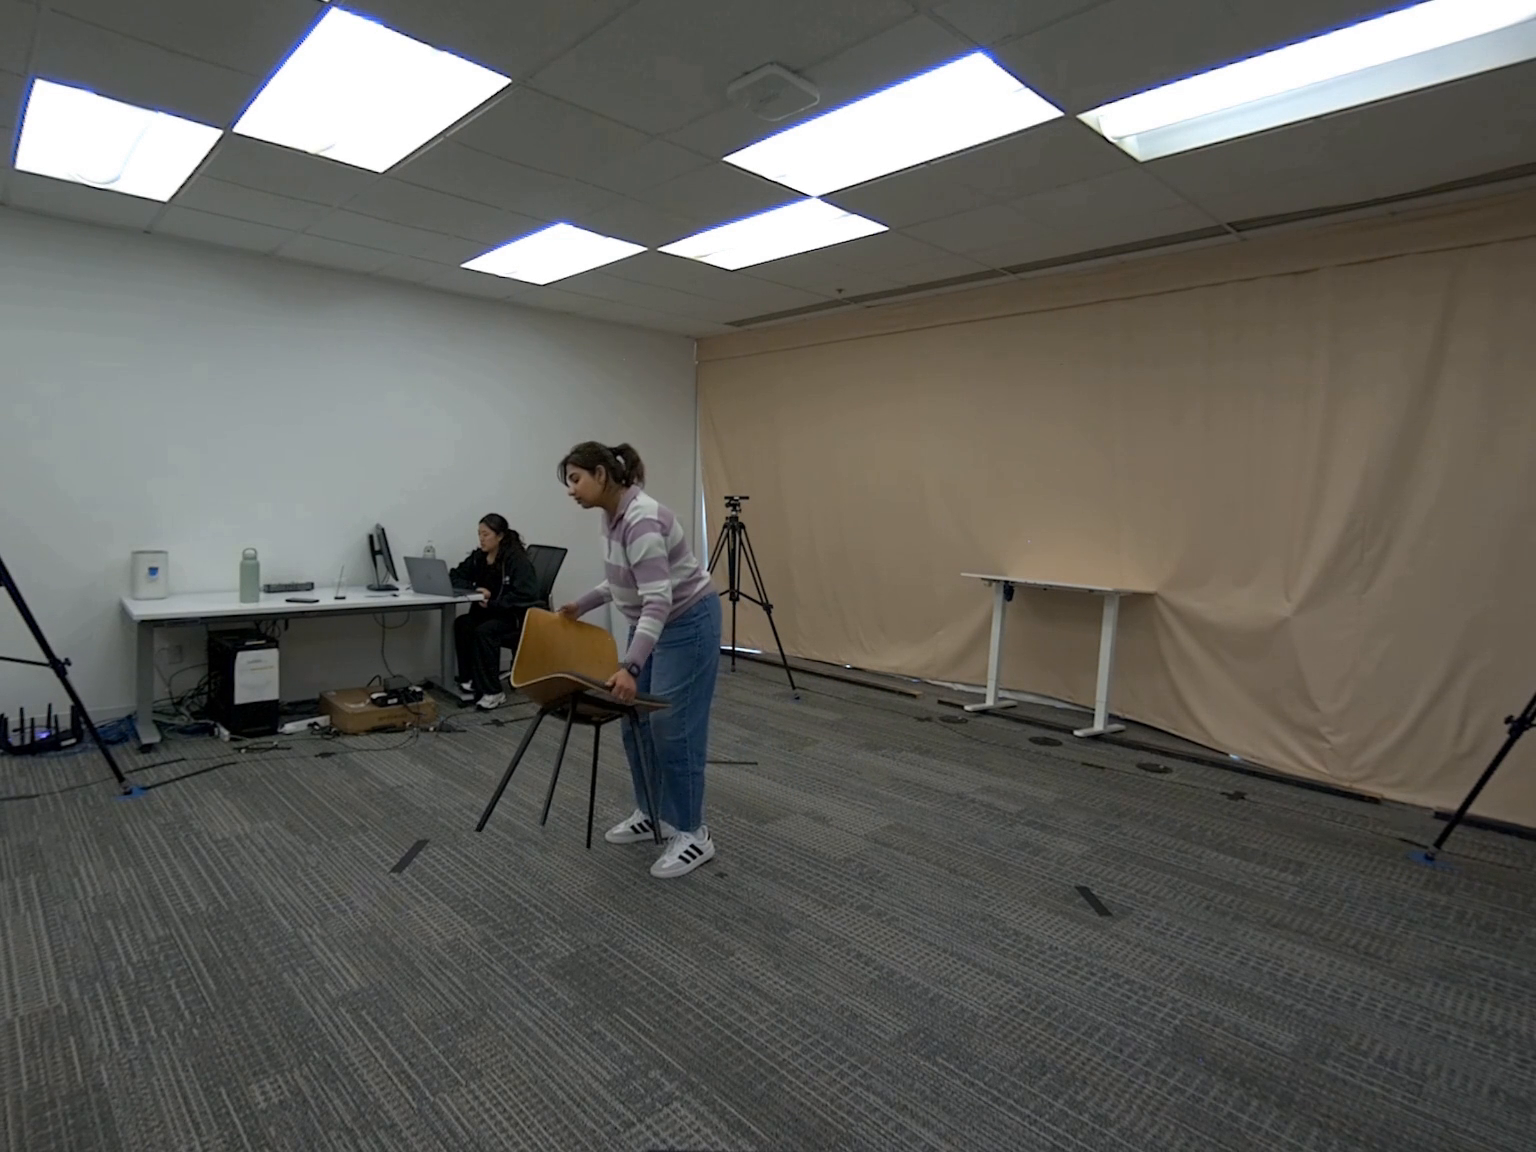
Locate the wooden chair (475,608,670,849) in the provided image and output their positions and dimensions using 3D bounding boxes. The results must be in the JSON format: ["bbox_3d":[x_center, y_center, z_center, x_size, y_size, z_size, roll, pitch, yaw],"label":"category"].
[{"bbox_3d":[-0.635,0.485,2.928,0.464,0.893,0.528,22,-35,-35],"label":"wooden chair"}]
